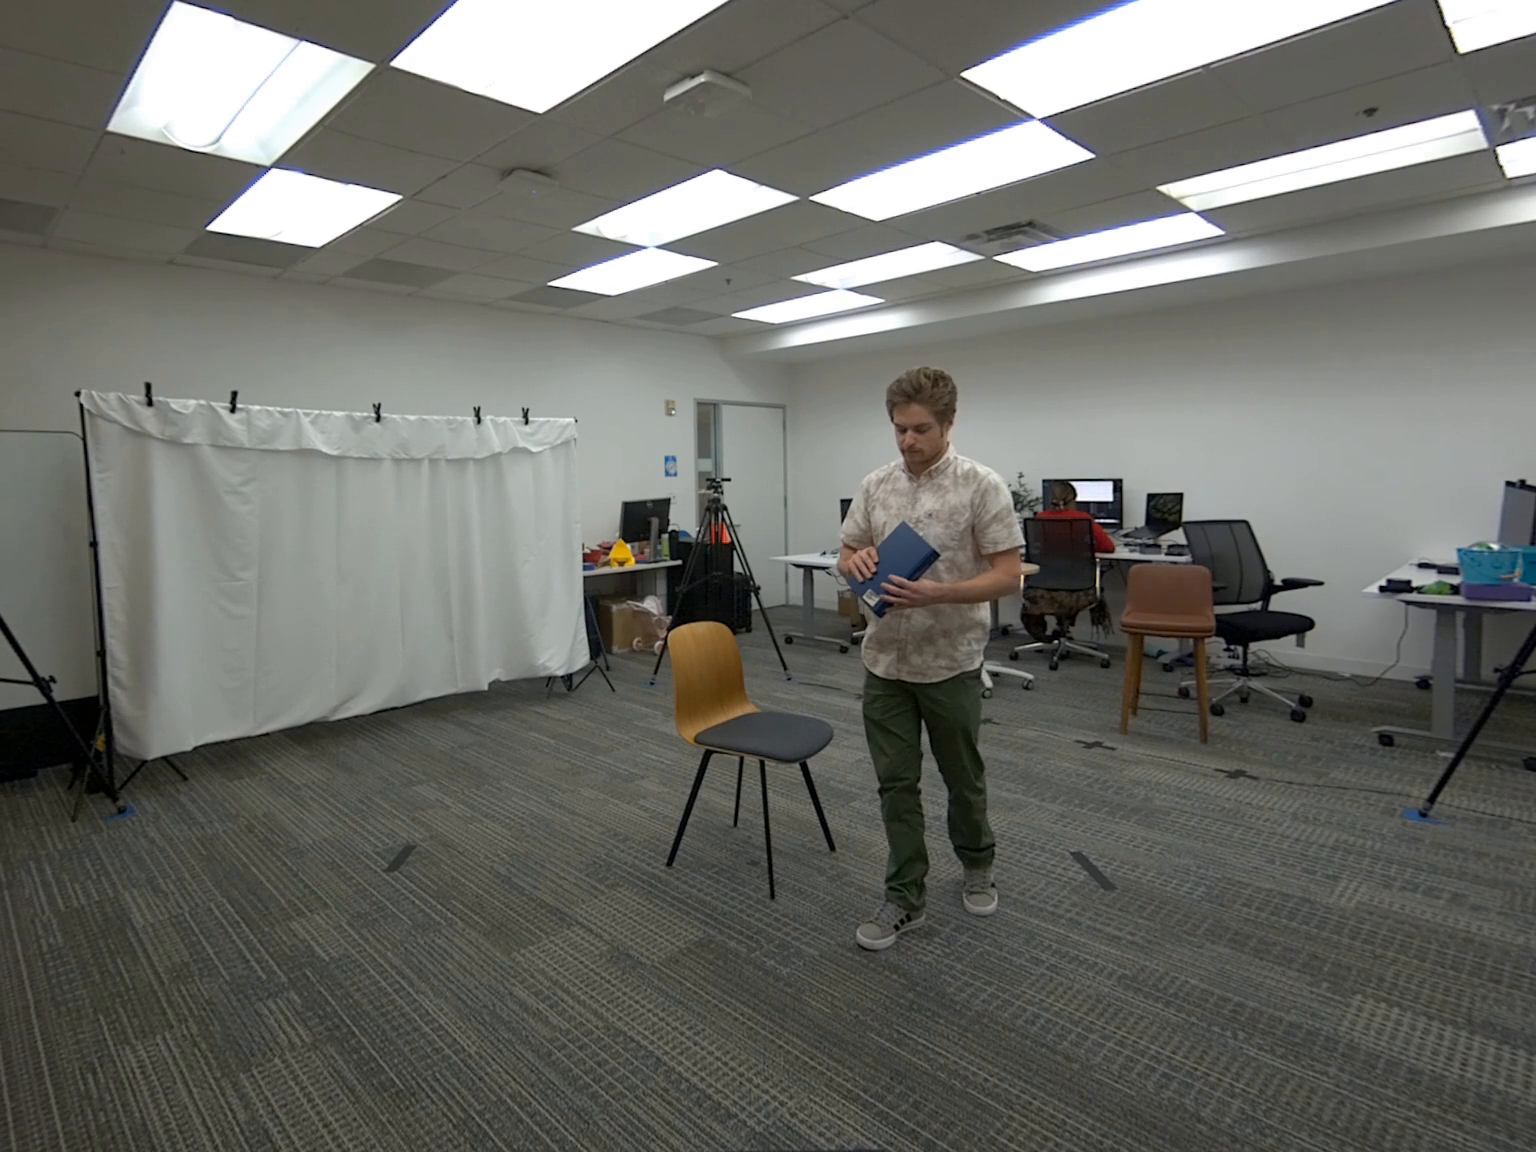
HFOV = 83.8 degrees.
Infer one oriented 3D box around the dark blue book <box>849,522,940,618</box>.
[{"bbox_3d":[0.364,-0.019,2.430,0.043,0.245,0.170,33,12,-41],"label":"dark blue book"}]
